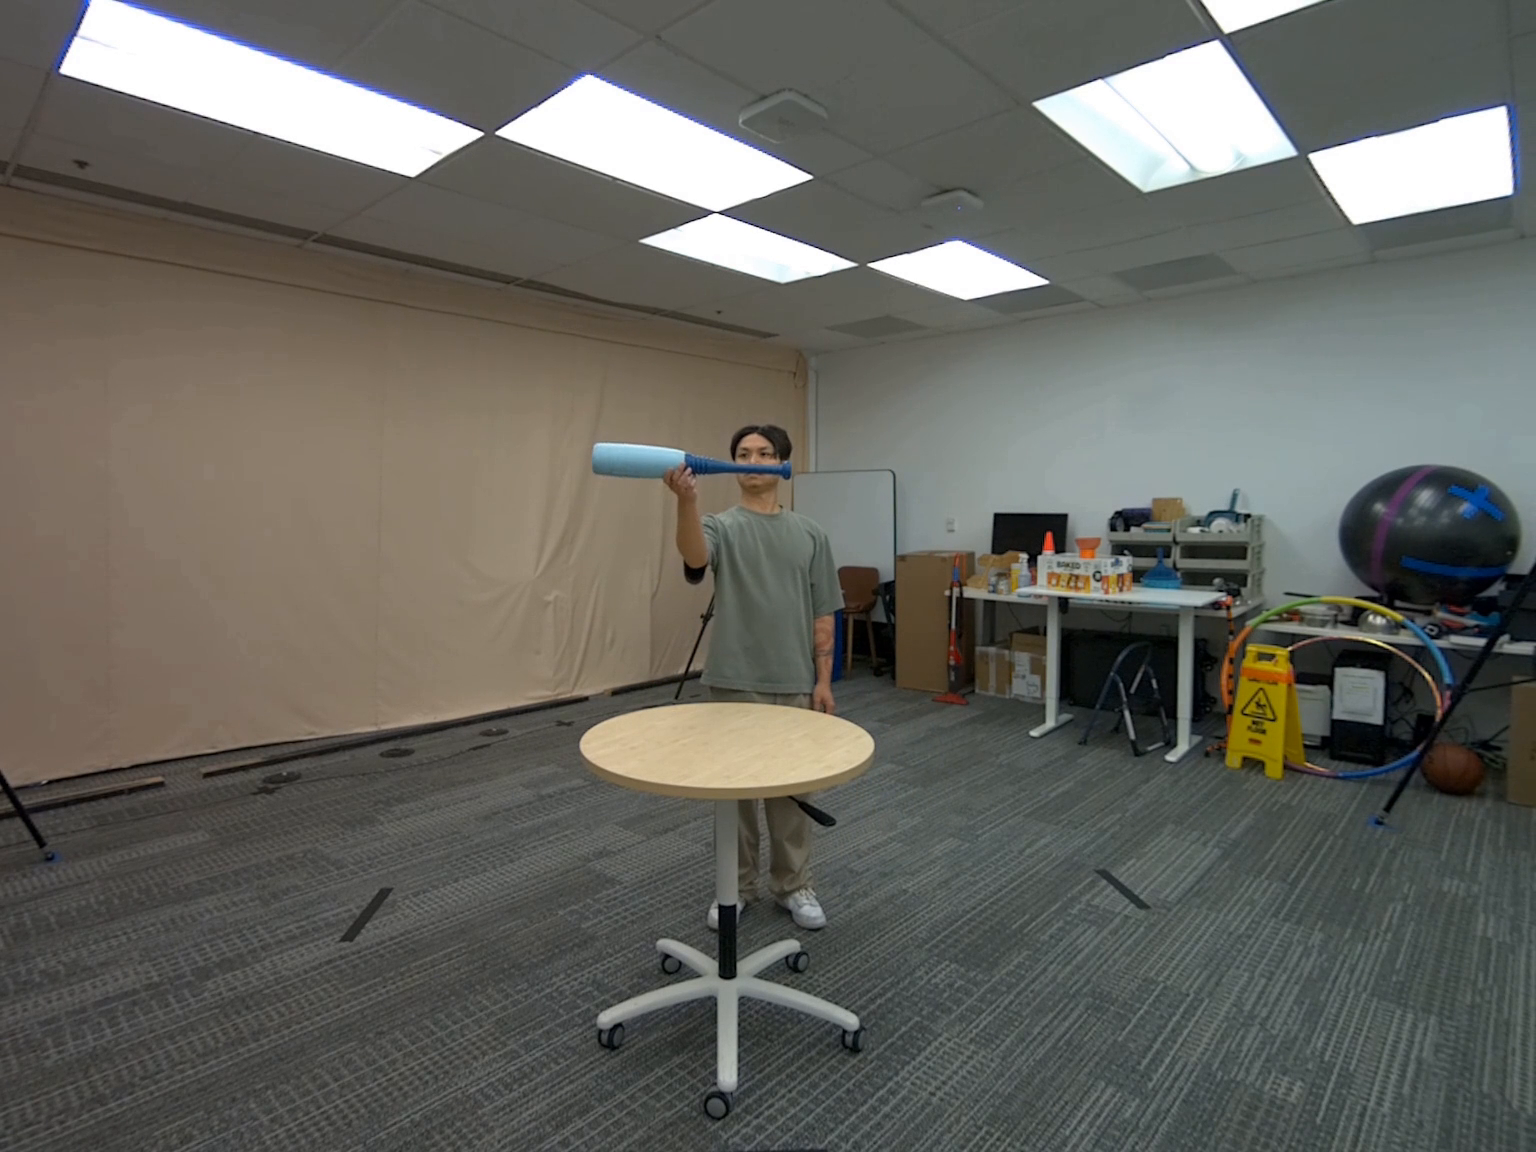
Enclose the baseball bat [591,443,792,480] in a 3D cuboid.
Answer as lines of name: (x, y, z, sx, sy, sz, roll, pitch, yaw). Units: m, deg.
baseball bat: (-0.203, -0.299, 2.283, 0.543, 0.089, 0.089, 5, 4, 0)
